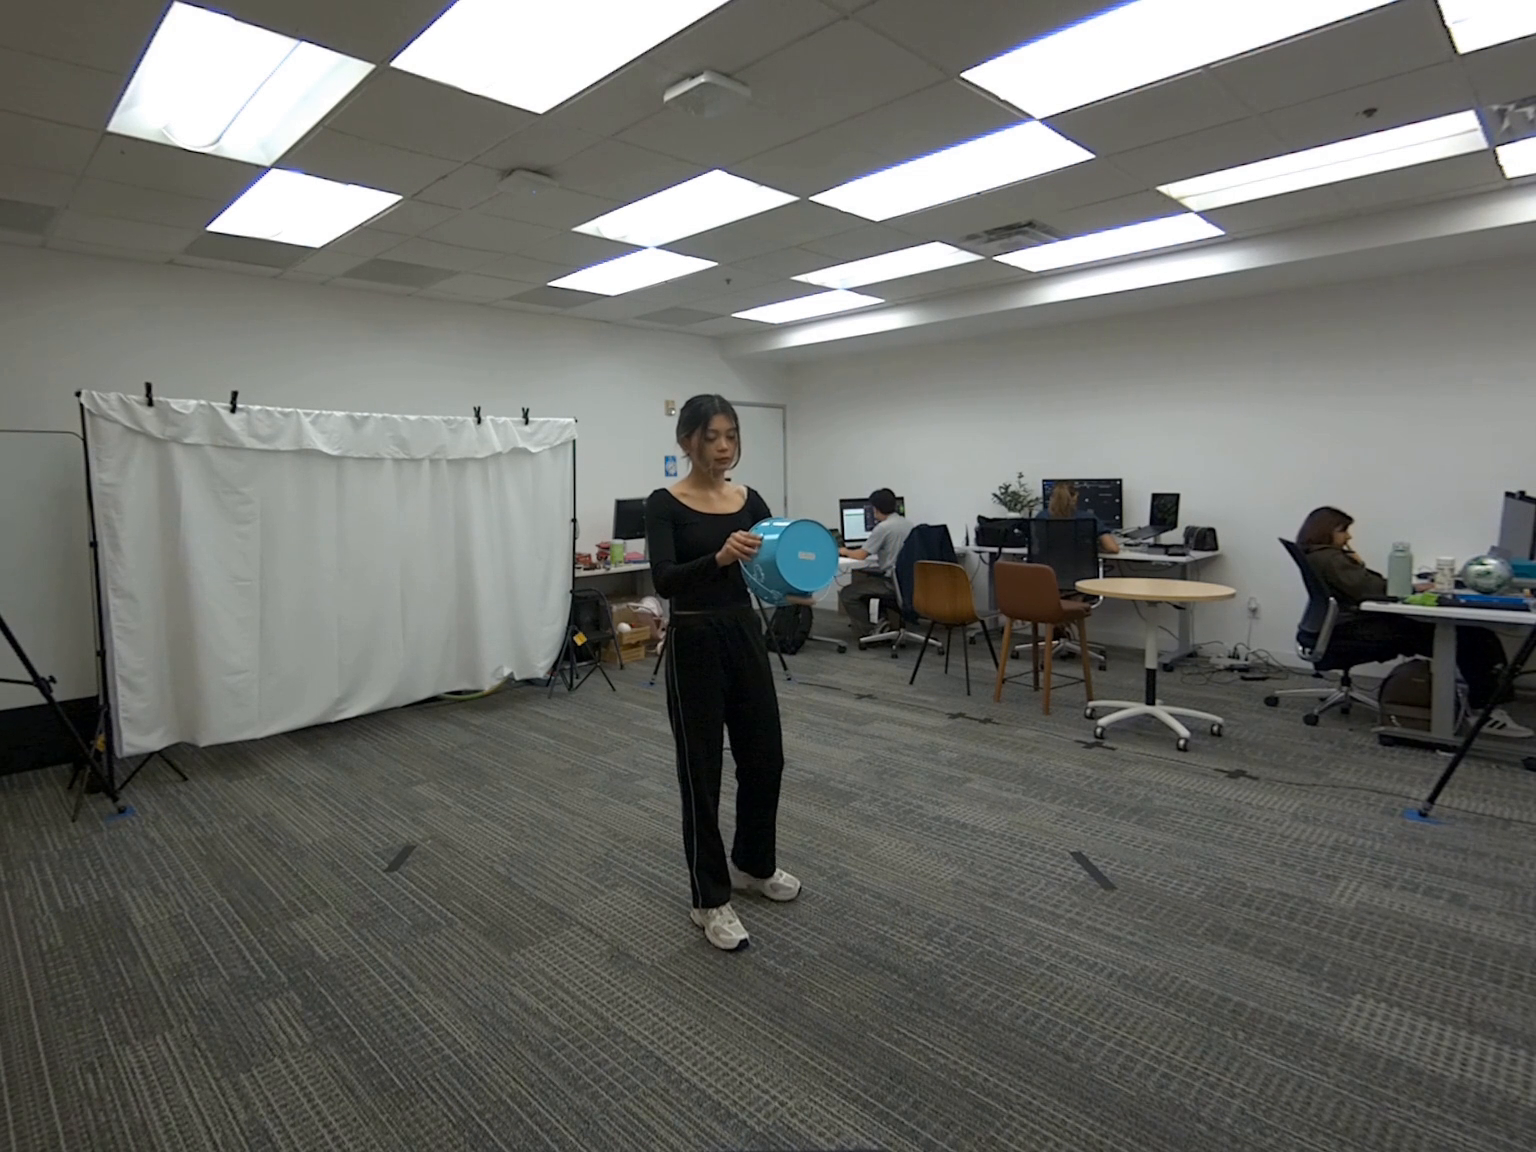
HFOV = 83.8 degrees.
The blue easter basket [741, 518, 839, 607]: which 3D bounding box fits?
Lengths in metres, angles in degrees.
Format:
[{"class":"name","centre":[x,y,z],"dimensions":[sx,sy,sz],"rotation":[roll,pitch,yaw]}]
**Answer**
[{"class":"blue easter basket","centre":[0.063,-0.042,2.184],"dimensions":[0.238,0.244,0.158],"rotation":[-3,-3,-25]}]
